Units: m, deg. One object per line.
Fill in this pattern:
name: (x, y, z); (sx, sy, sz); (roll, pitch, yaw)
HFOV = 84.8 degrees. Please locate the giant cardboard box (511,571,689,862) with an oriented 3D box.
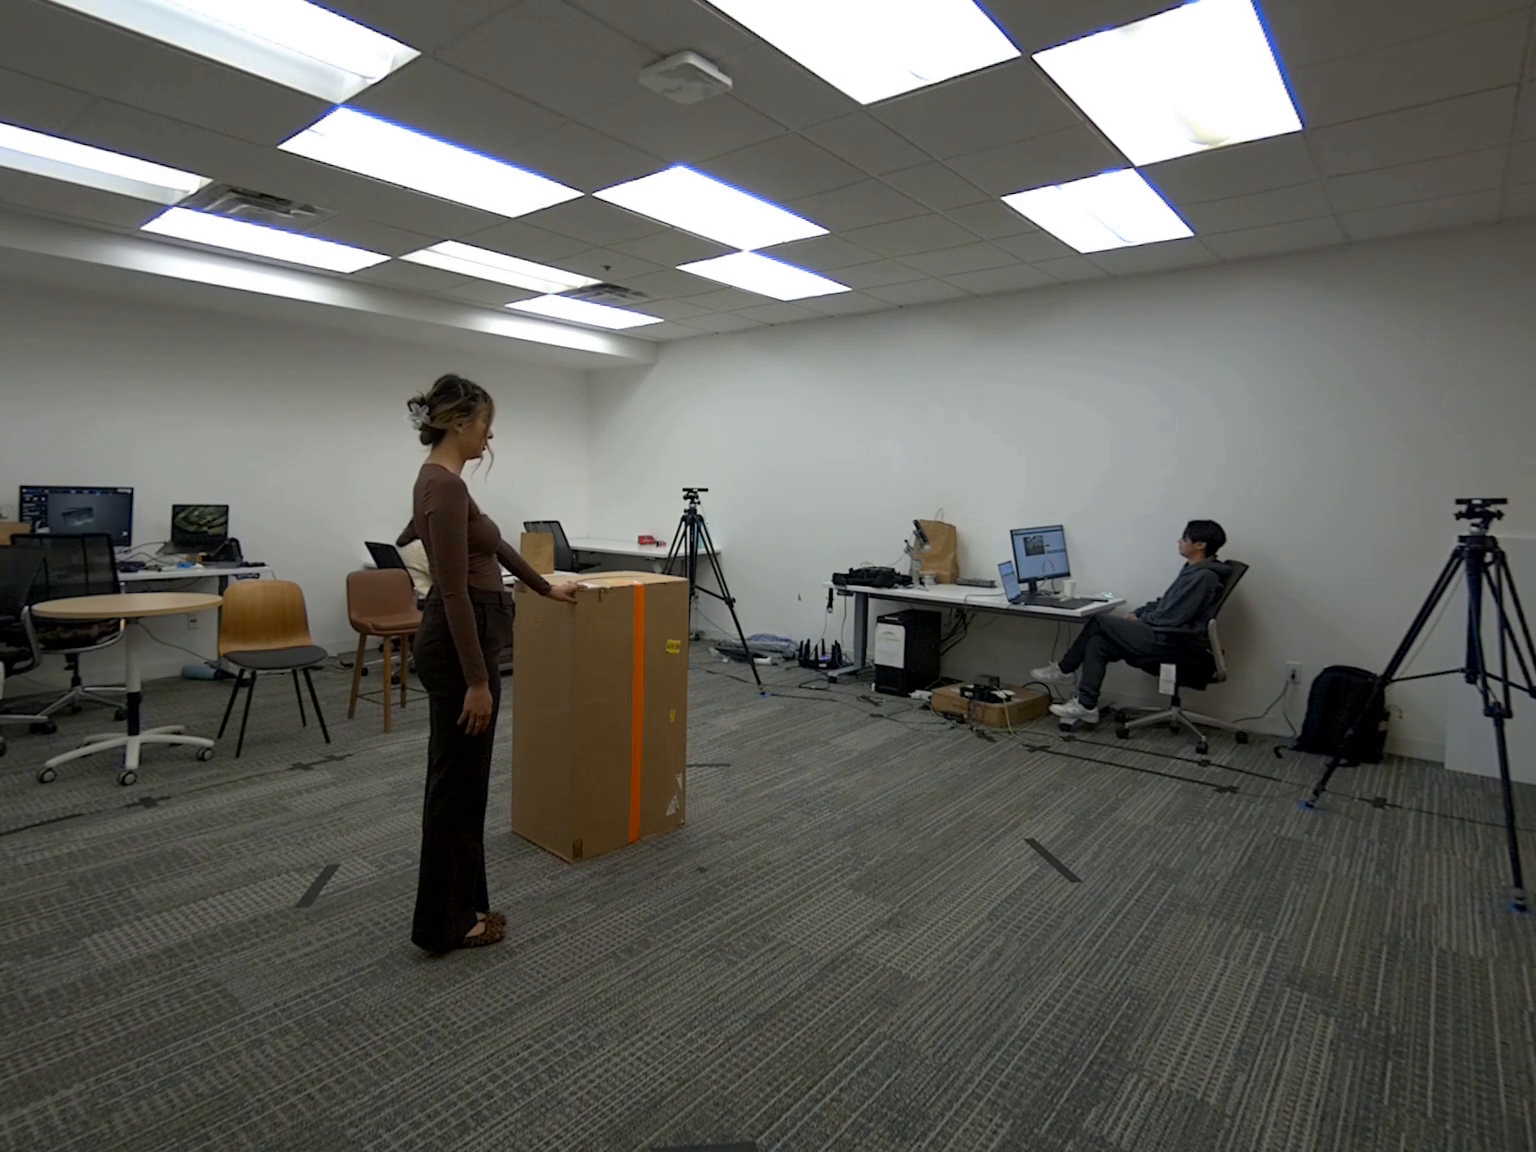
giant cardboard box: (-0.688, 0.519, 3.455); (0.462, 1.024, 0.566); (5, 5, 45)
